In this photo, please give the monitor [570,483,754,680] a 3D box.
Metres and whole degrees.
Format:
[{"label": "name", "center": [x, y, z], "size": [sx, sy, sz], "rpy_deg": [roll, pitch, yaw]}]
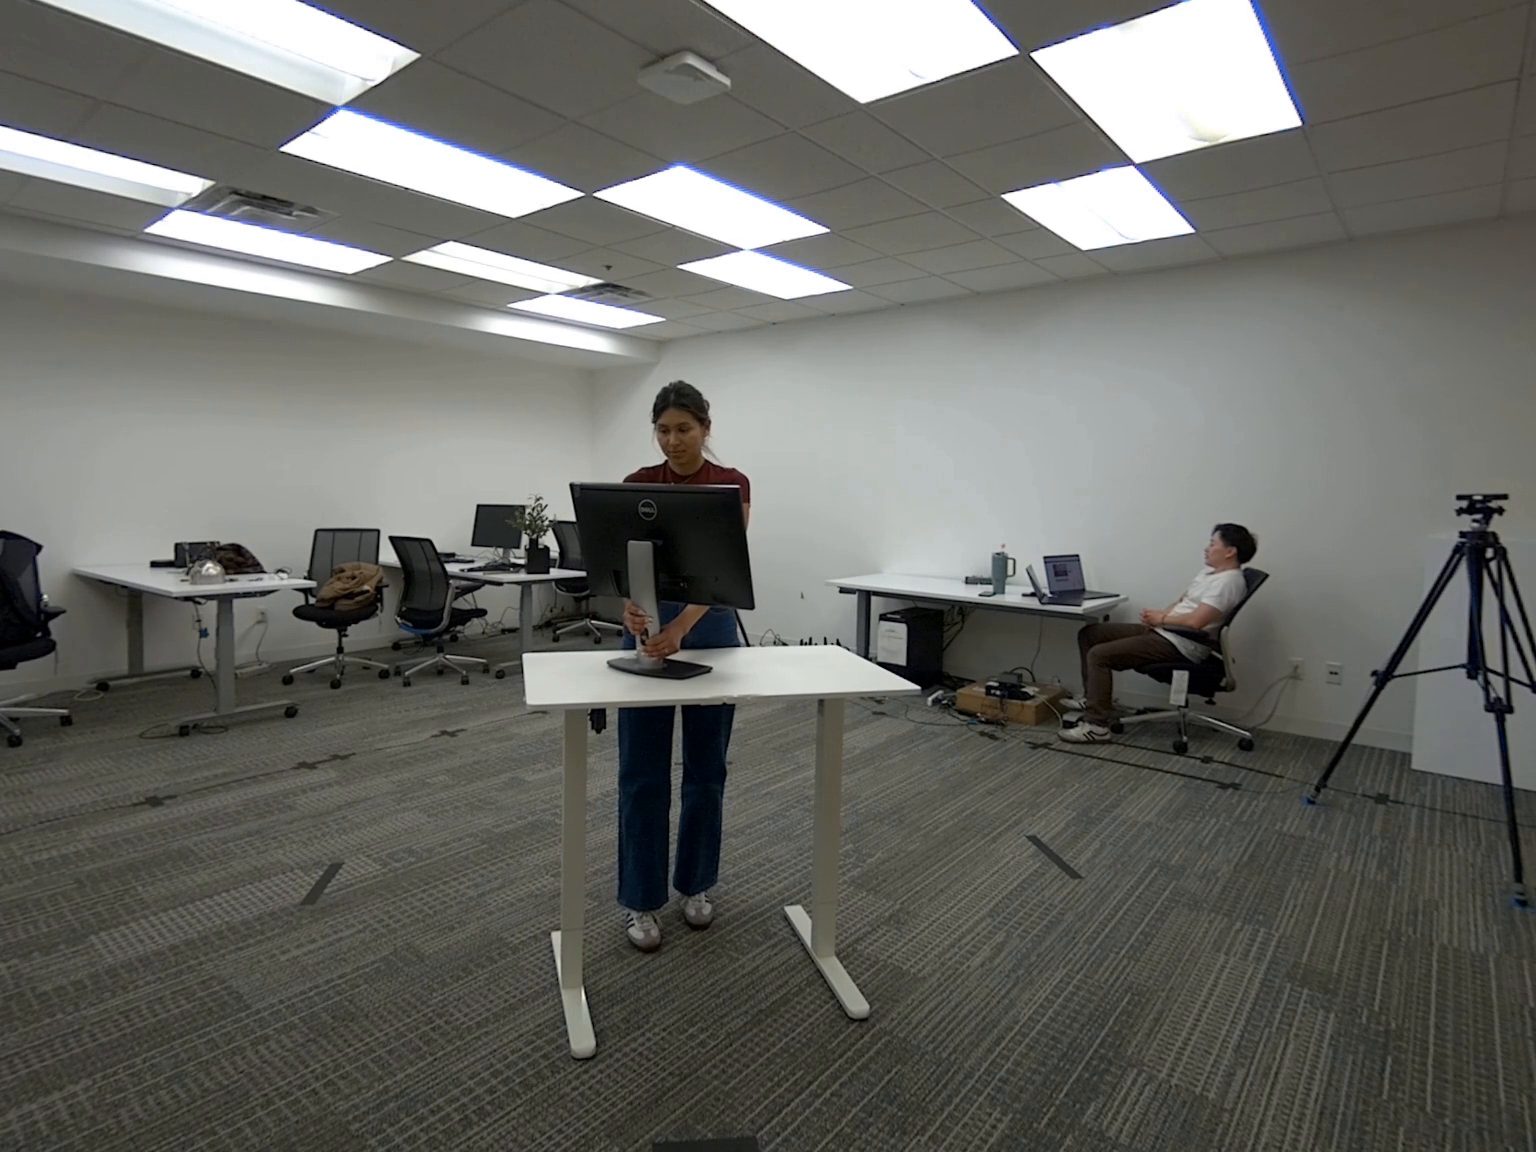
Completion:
[{"label": "monitor", "center": [-0.334, 0.004, 2.340], "size": [0.553, 0.519, 0.183], "rpy_deg": [3, 7, 24]}]
